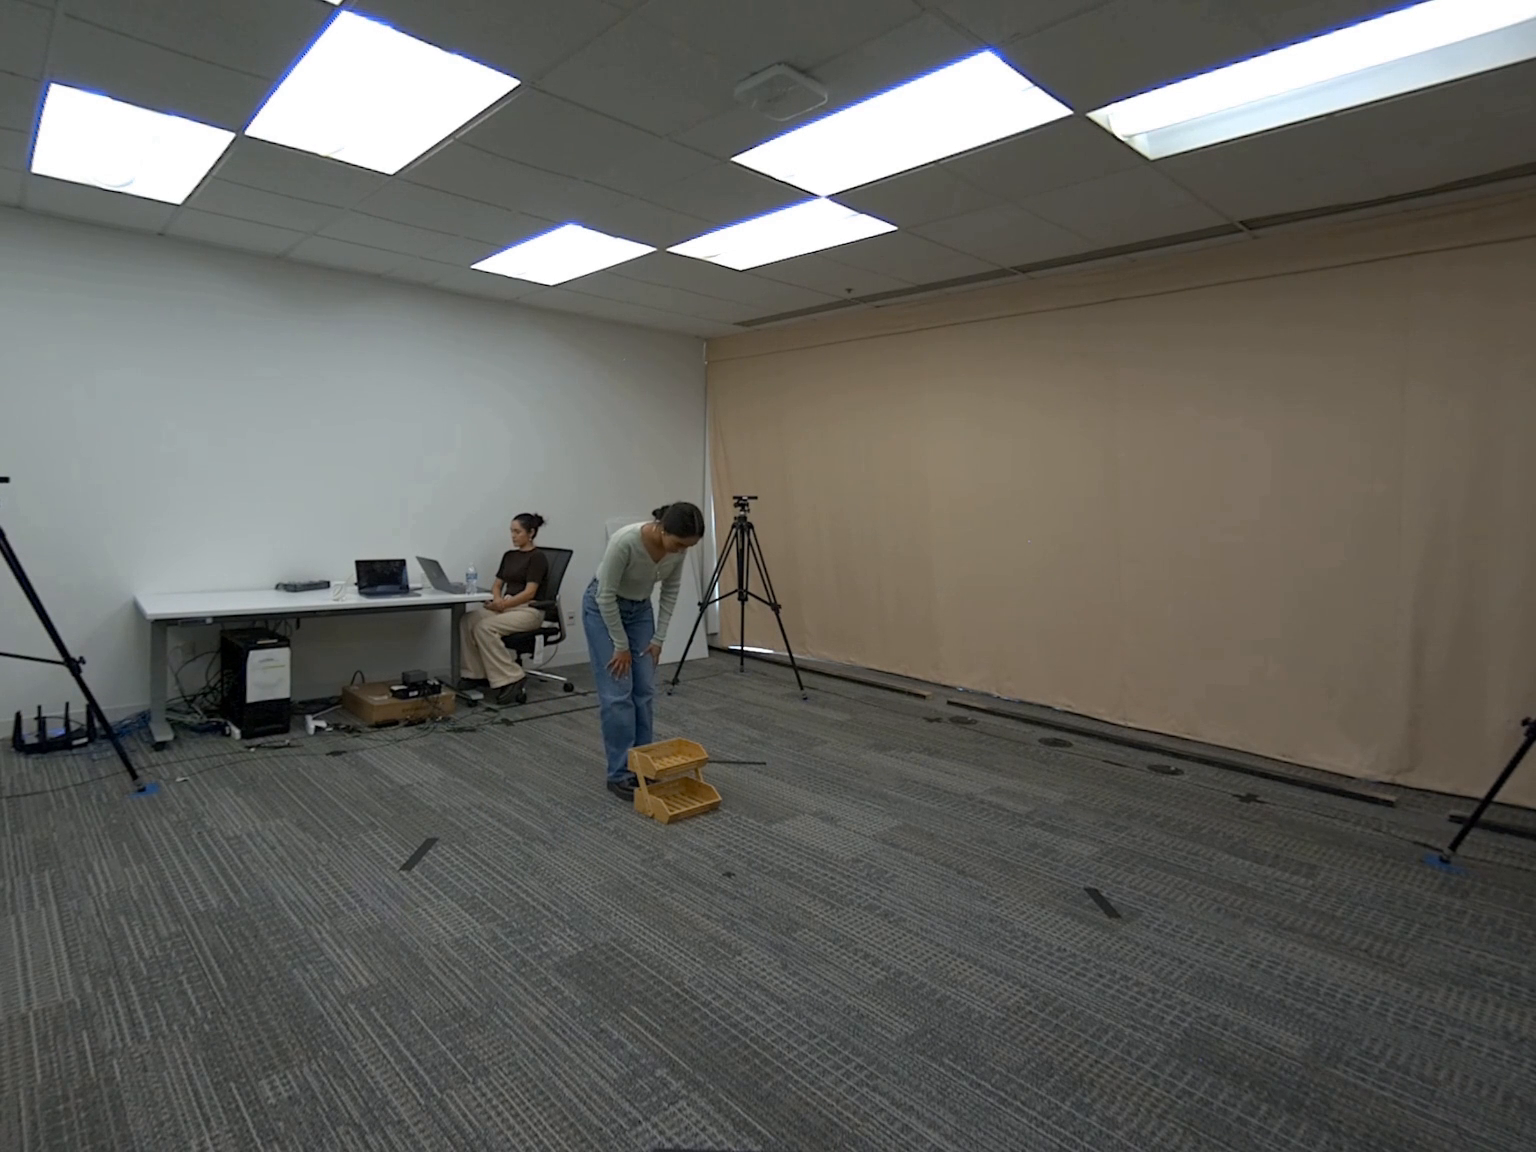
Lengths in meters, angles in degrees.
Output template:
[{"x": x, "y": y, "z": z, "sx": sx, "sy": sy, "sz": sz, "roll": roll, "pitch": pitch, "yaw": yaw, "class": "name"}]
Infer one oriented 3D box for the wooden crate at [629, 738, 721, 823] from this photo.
[{"x": -0.425, "y": 0.903, "z": 3.763, "sx": 0.317, "sy": 0.273, "sz": 0.309, "roll": -3, "pitch": 5, "yaw": -45, "class": "wooden crate"}]
